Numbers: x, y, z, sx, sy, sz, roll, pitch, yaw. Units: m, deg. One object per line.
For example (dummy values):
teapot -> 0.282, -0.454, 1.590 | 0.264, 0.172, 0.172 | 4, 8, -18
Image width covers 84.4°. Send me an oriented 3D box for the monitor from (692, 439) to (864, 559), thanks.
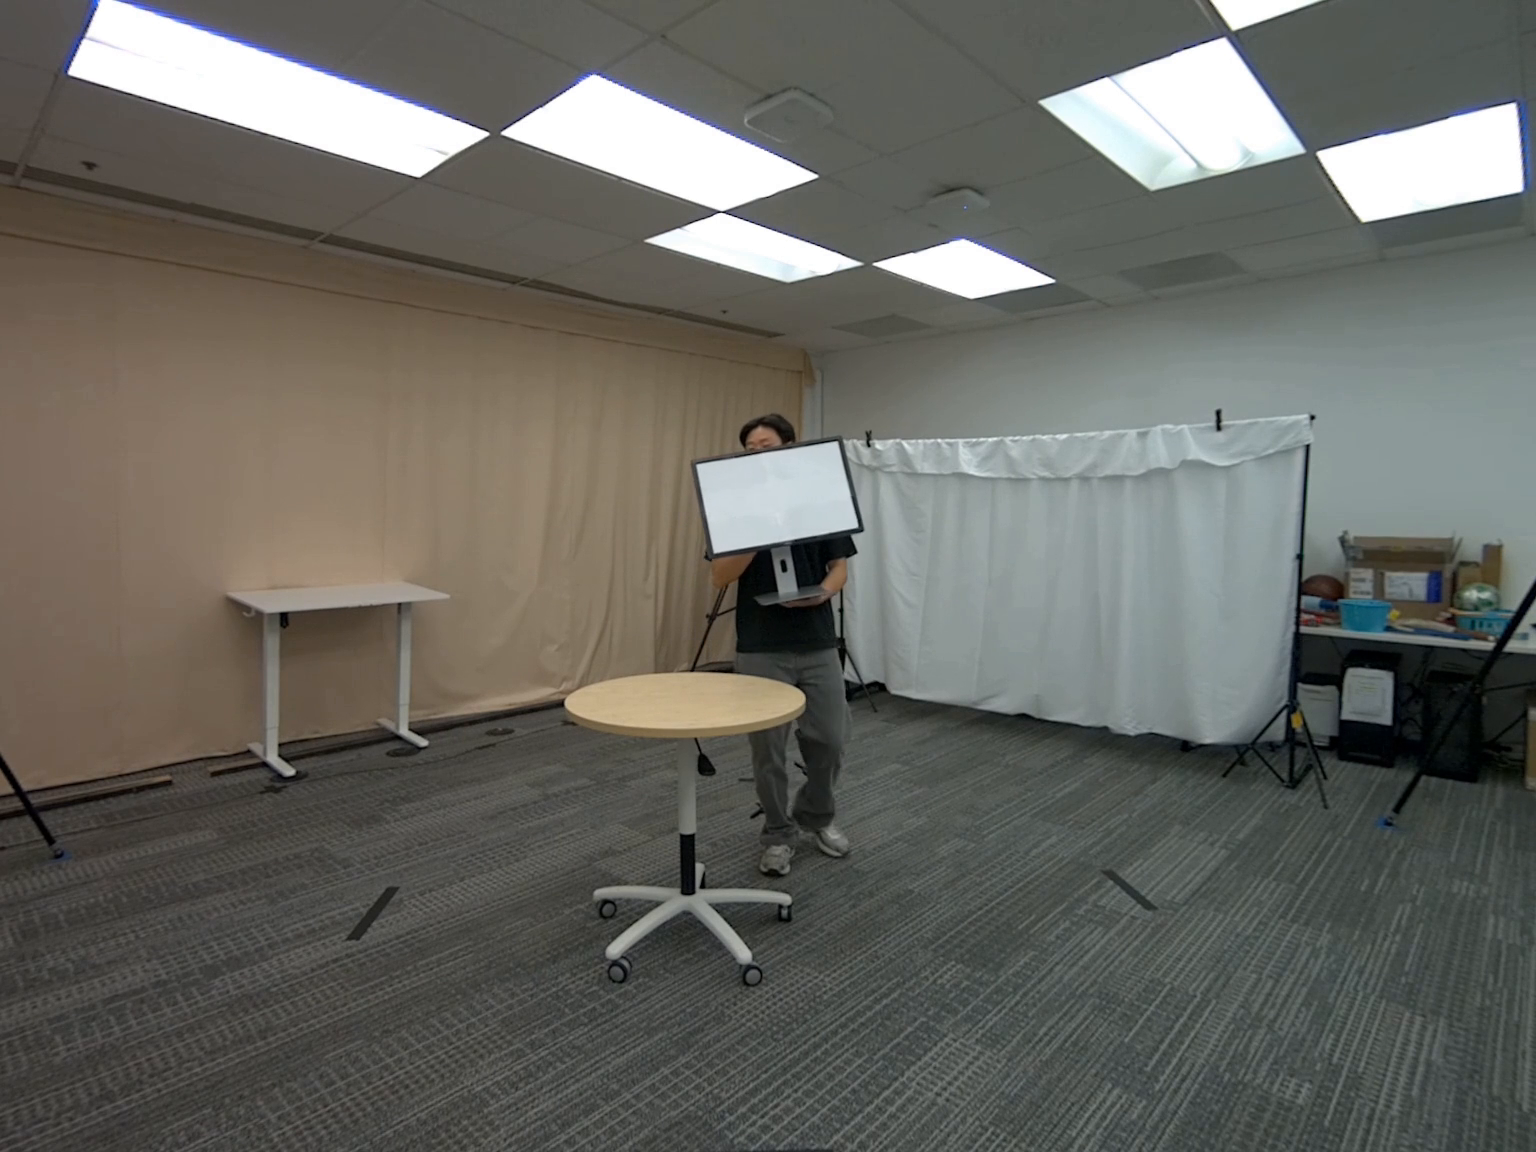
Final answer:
monitor -> 0.053, -0.177, 3.019 | 0.559, 0.564, 0.224 | -11, 4, -4
